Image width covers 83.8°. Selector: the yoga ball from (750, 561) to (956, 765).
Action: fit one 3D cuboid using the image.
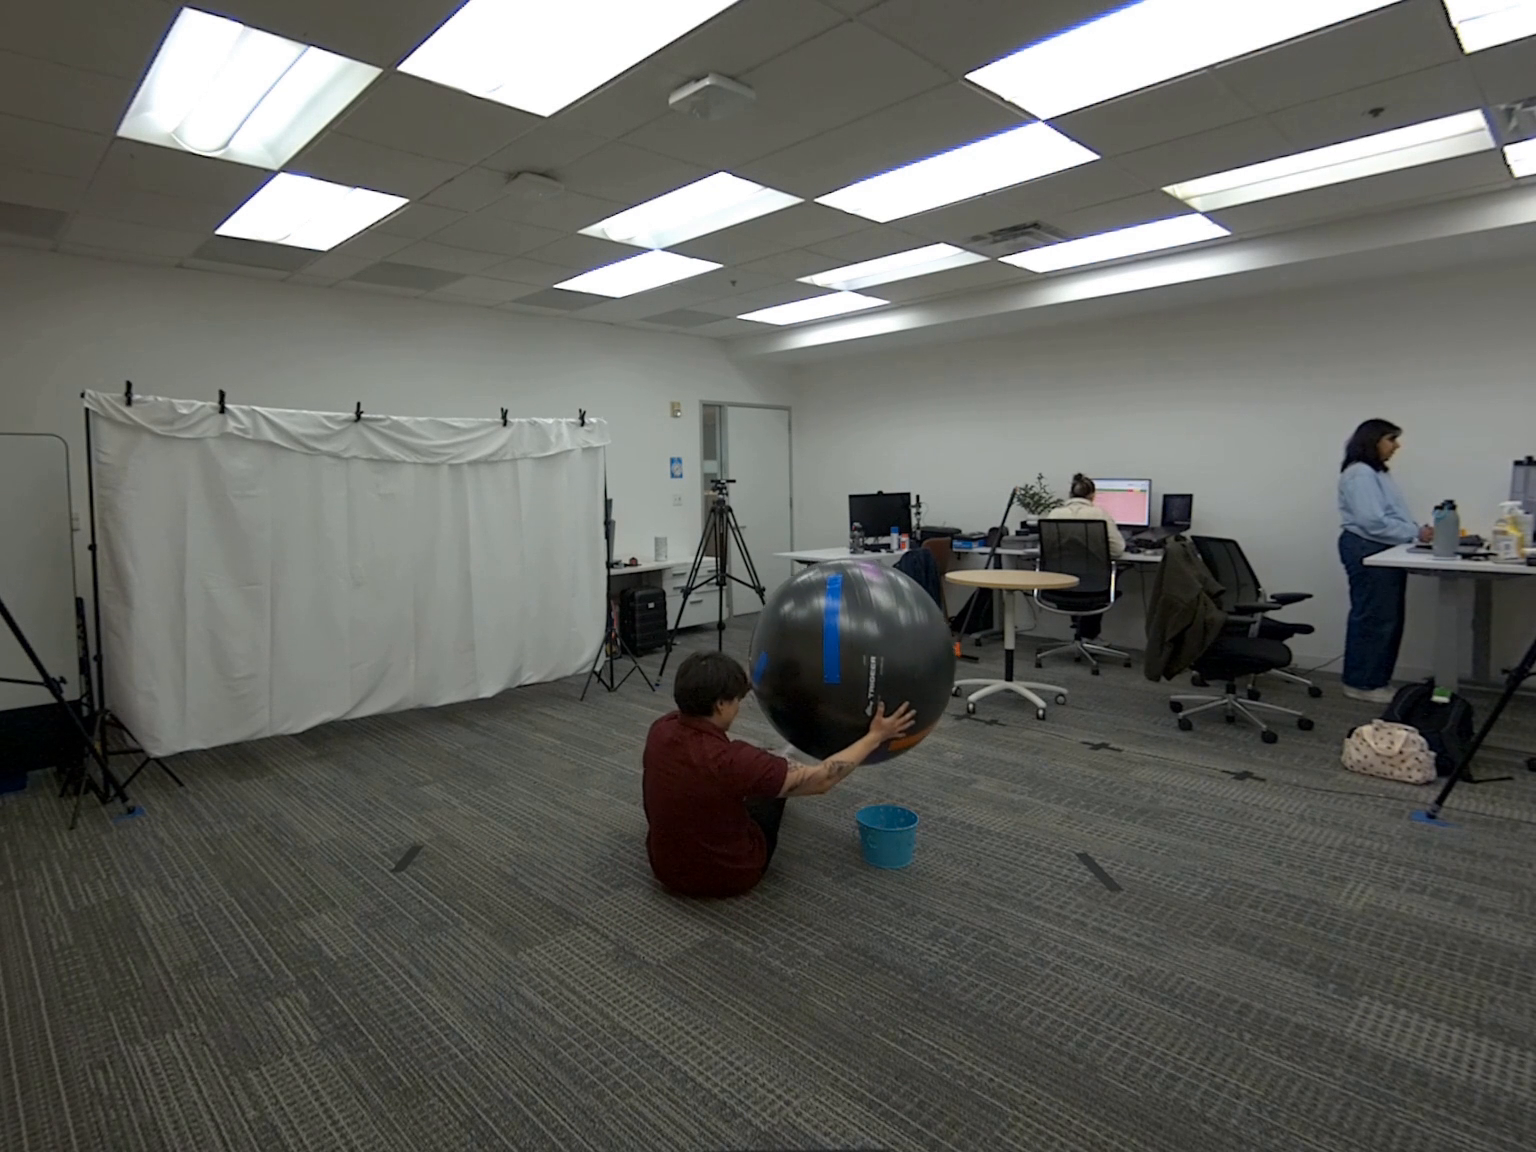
[{"bbox_3d":[0.306,0.322,3.190,0.757,0.755,0.762,-1,5,-2],"label":"yoga ball"}]
